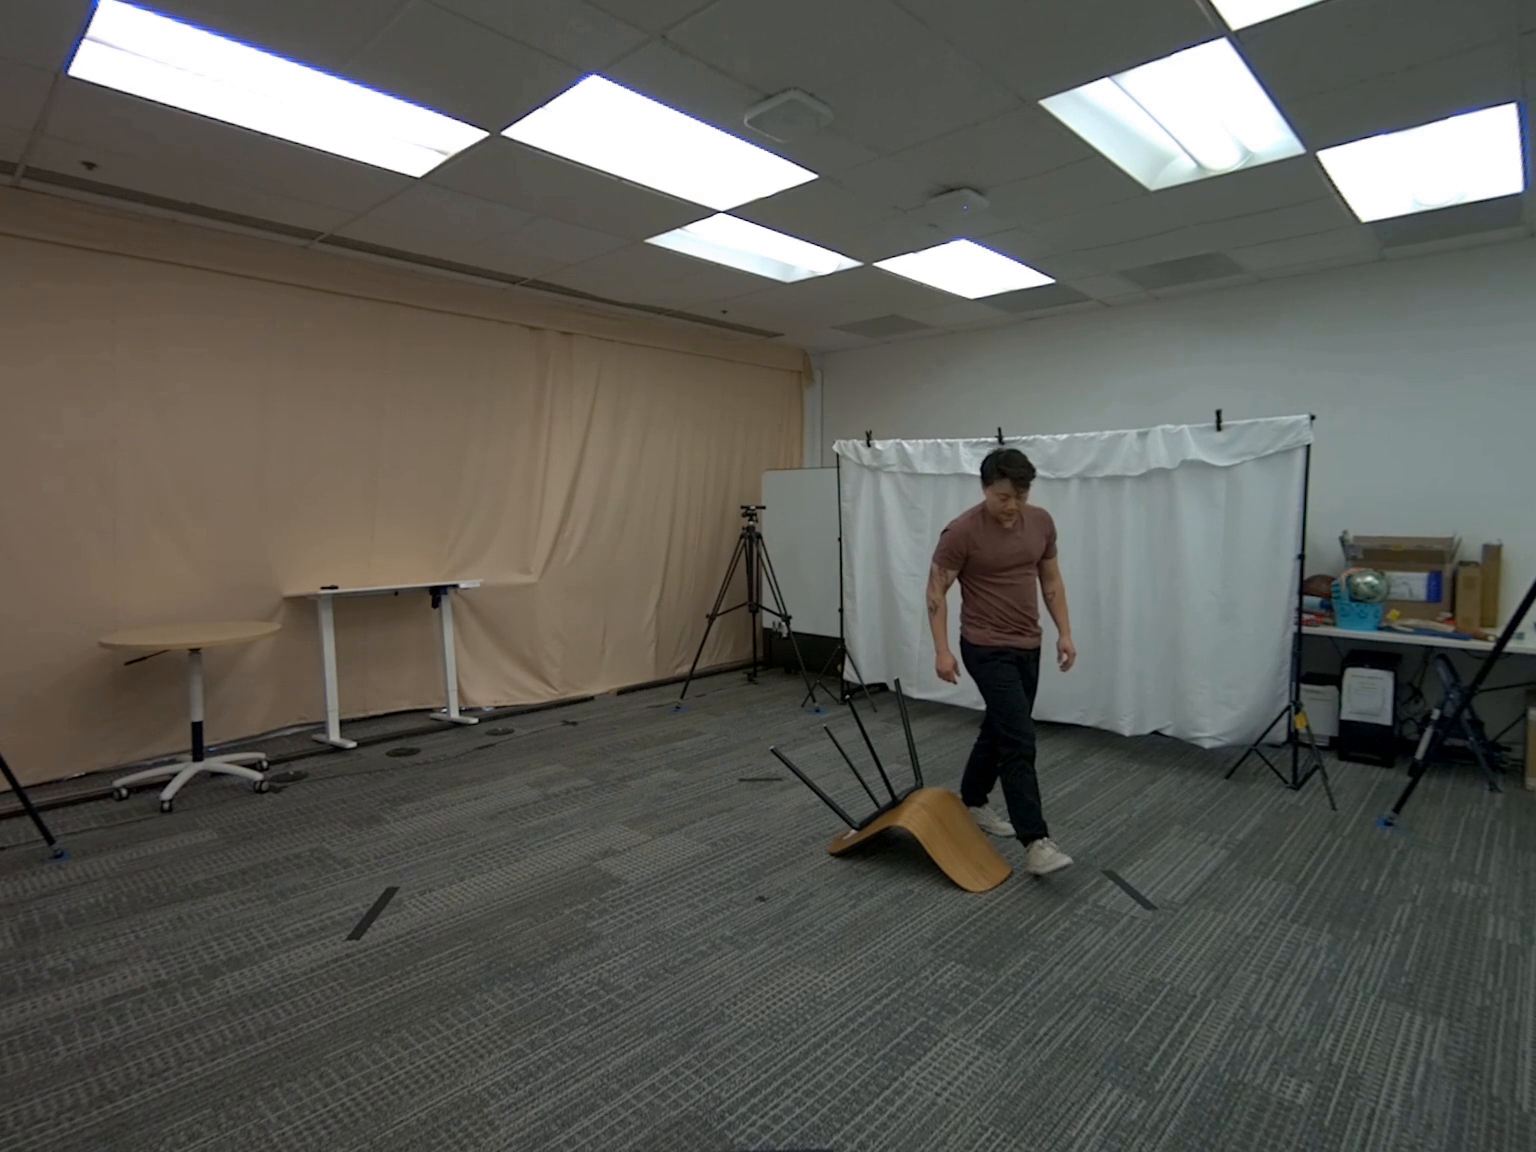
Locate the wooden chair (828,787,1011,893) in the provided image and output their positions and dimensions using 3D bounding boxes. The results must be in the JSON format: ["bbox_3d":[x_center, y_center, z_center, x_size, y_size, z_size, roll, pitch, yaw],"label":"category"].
[{"bbox_3d":[0.491,0.936,3.409,0.527,0.897,0.464,-45,-22,28],"label":"wooden chair"}]
